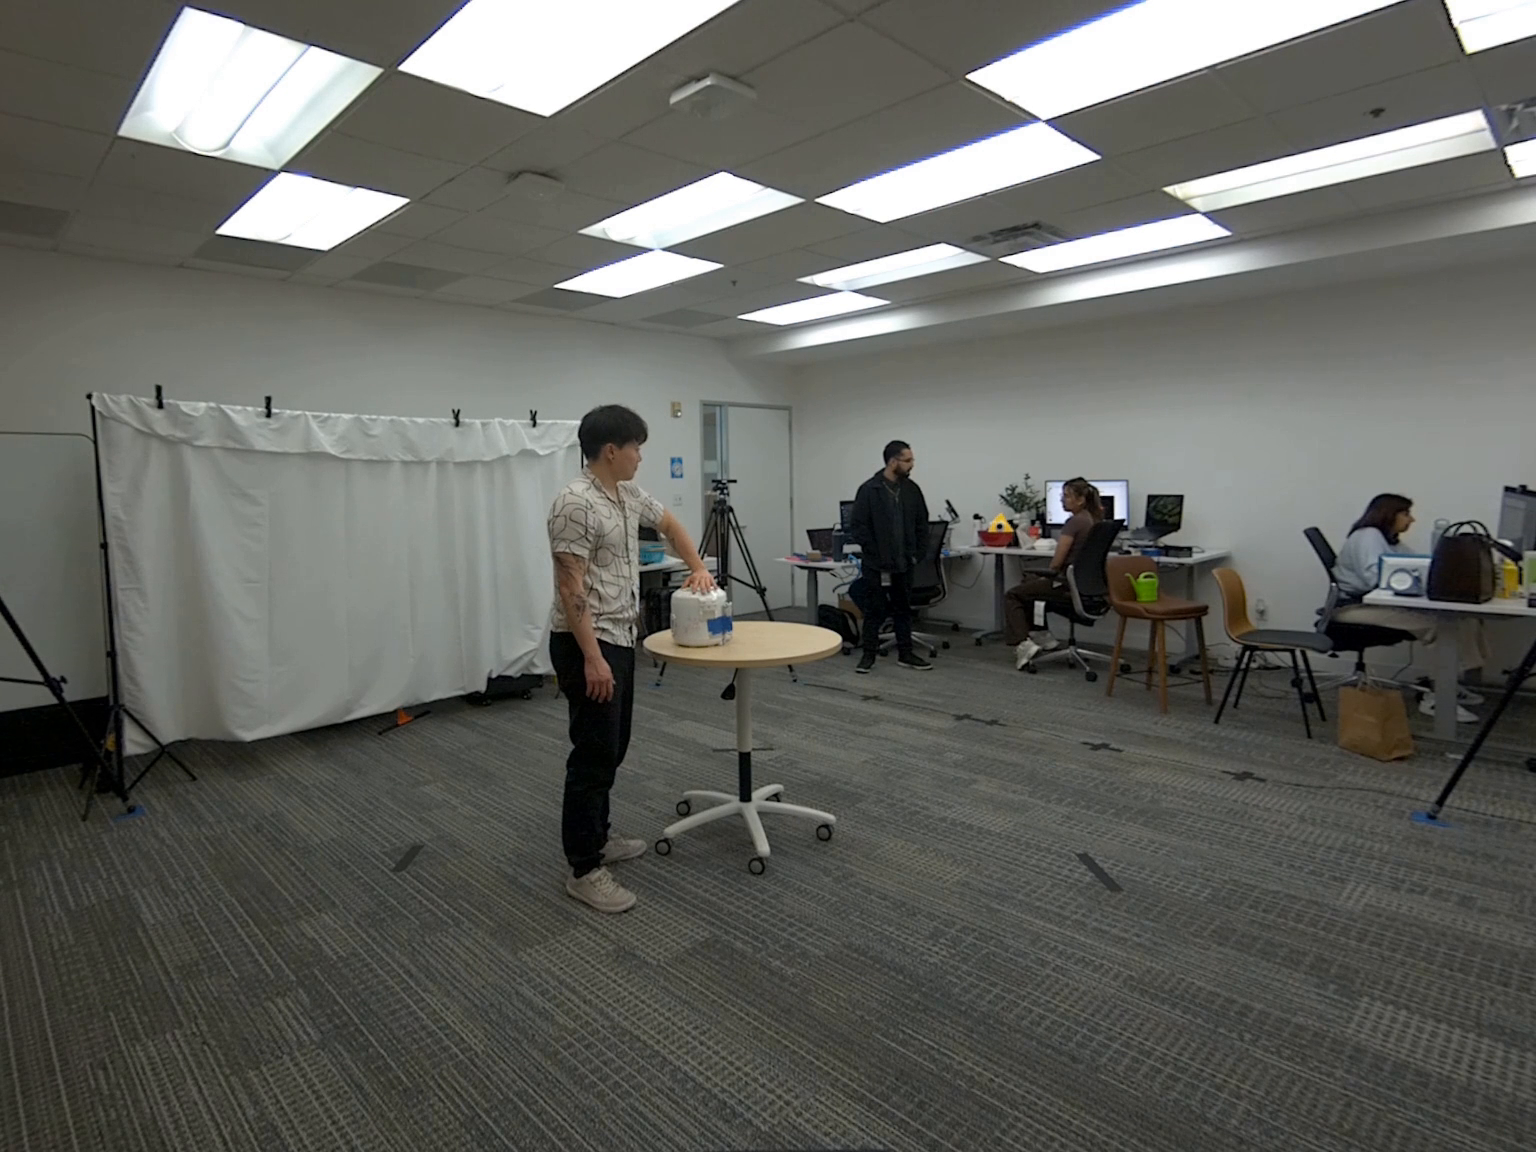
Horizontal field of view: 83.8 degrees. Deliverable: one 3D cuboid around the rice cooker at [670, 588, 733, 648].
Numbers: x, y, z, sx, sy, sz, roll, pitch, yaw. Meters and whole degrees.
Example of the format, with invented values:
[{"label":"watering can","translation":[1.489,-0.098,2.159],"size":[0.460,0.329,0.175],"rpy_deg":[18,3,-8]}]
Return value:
[{"label":"rice cooker","translation":[-0.260,0.141,3.237],"size":[0.213,0.232,0.225],"rpy_deg":[-2,4,-21]}]
